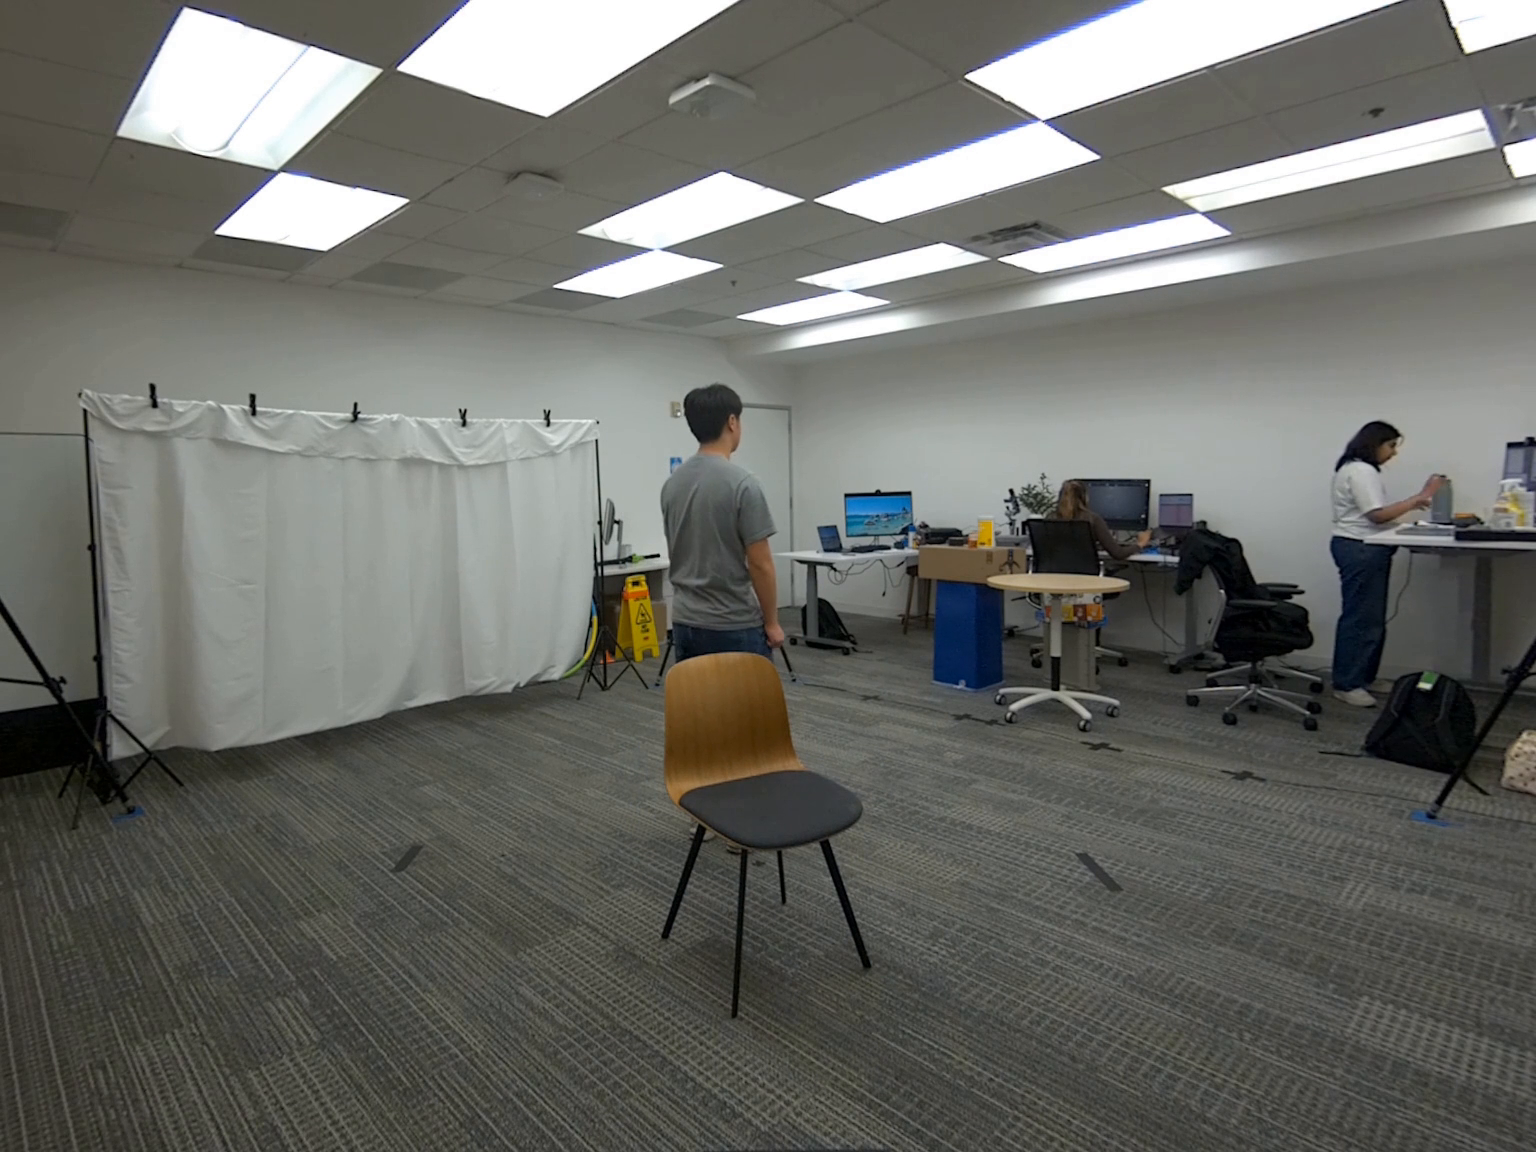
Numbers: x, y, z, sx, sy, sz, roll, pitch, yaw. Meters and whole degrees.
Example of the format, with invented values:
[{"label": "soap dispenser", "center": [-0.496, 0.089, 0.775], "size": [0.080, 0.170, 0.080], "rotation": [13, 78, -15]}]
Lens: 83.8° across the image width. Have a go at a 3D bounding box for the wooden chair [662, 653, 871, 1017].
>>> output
[{"label": "wooden chair", "center": [-0.022, 0.697, 2.481], "size": [0.467, 0.877, 0.536], "rotation": [-4, 1, -30]}]
